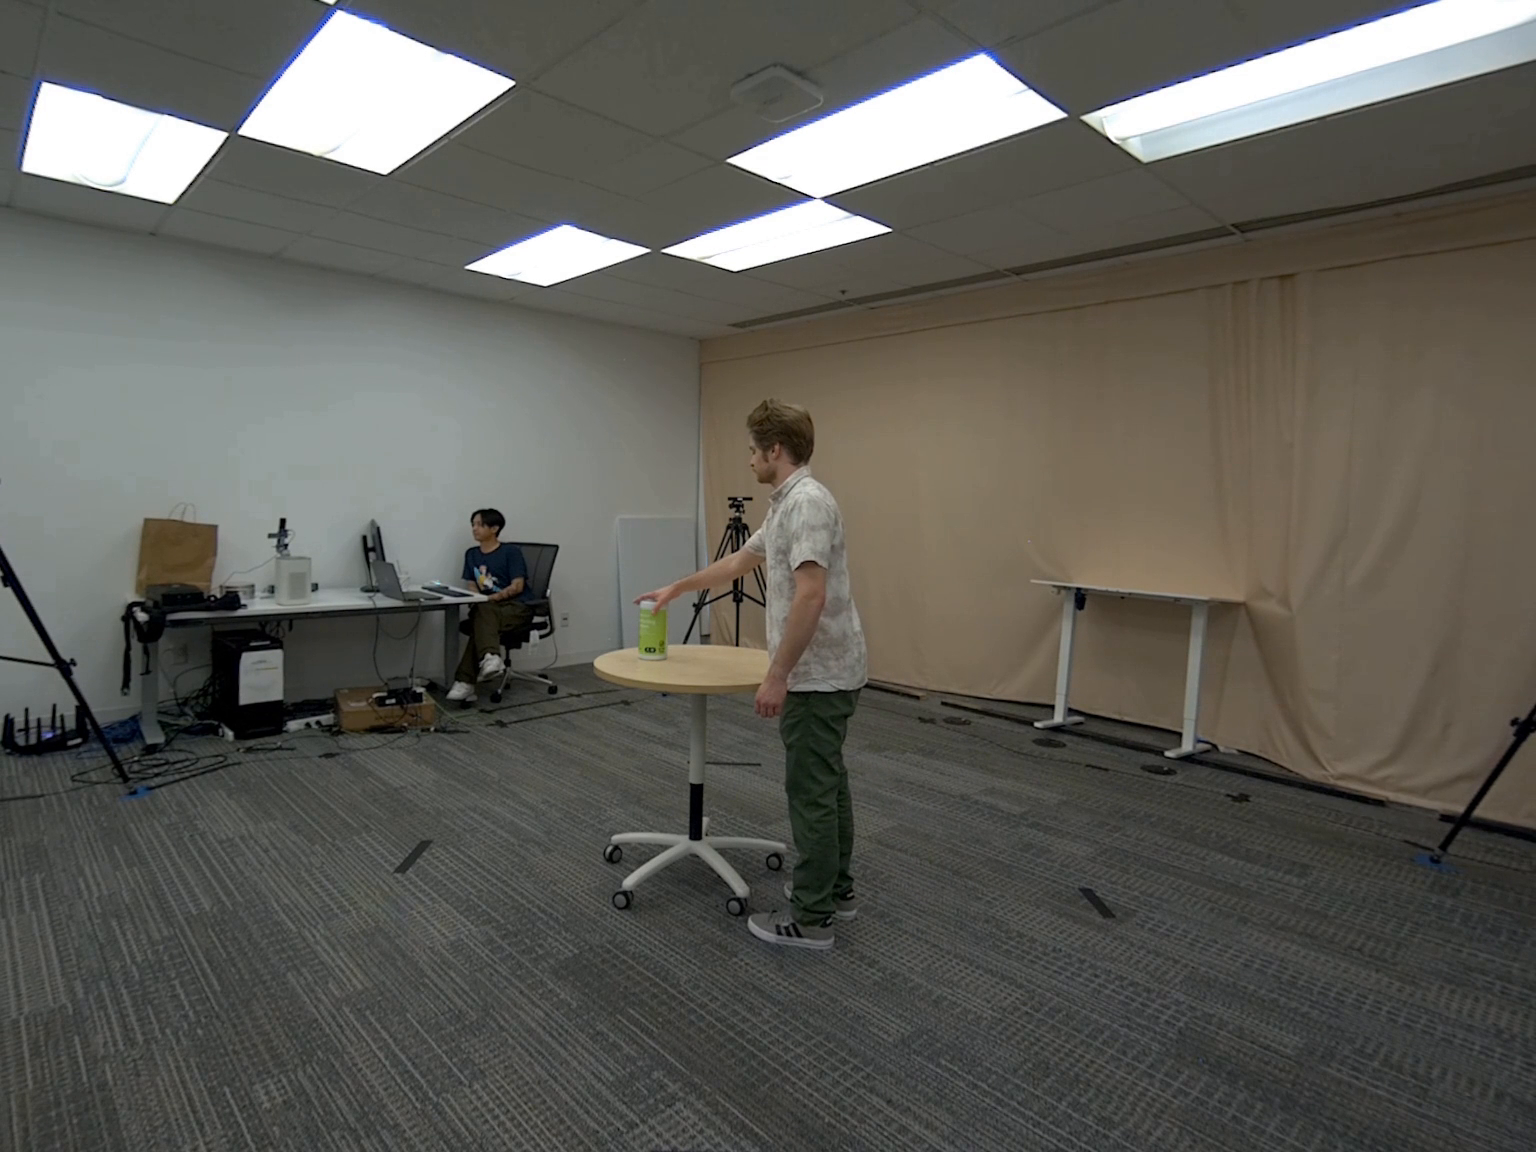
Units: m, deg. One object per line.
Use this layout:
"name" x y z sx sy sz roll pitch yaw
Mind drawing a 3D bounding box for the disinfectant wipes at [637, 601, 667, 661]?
"disinfectant wipes" -0.427 0.198 3.121 0.118 0.217 0.118 4 3 -2
